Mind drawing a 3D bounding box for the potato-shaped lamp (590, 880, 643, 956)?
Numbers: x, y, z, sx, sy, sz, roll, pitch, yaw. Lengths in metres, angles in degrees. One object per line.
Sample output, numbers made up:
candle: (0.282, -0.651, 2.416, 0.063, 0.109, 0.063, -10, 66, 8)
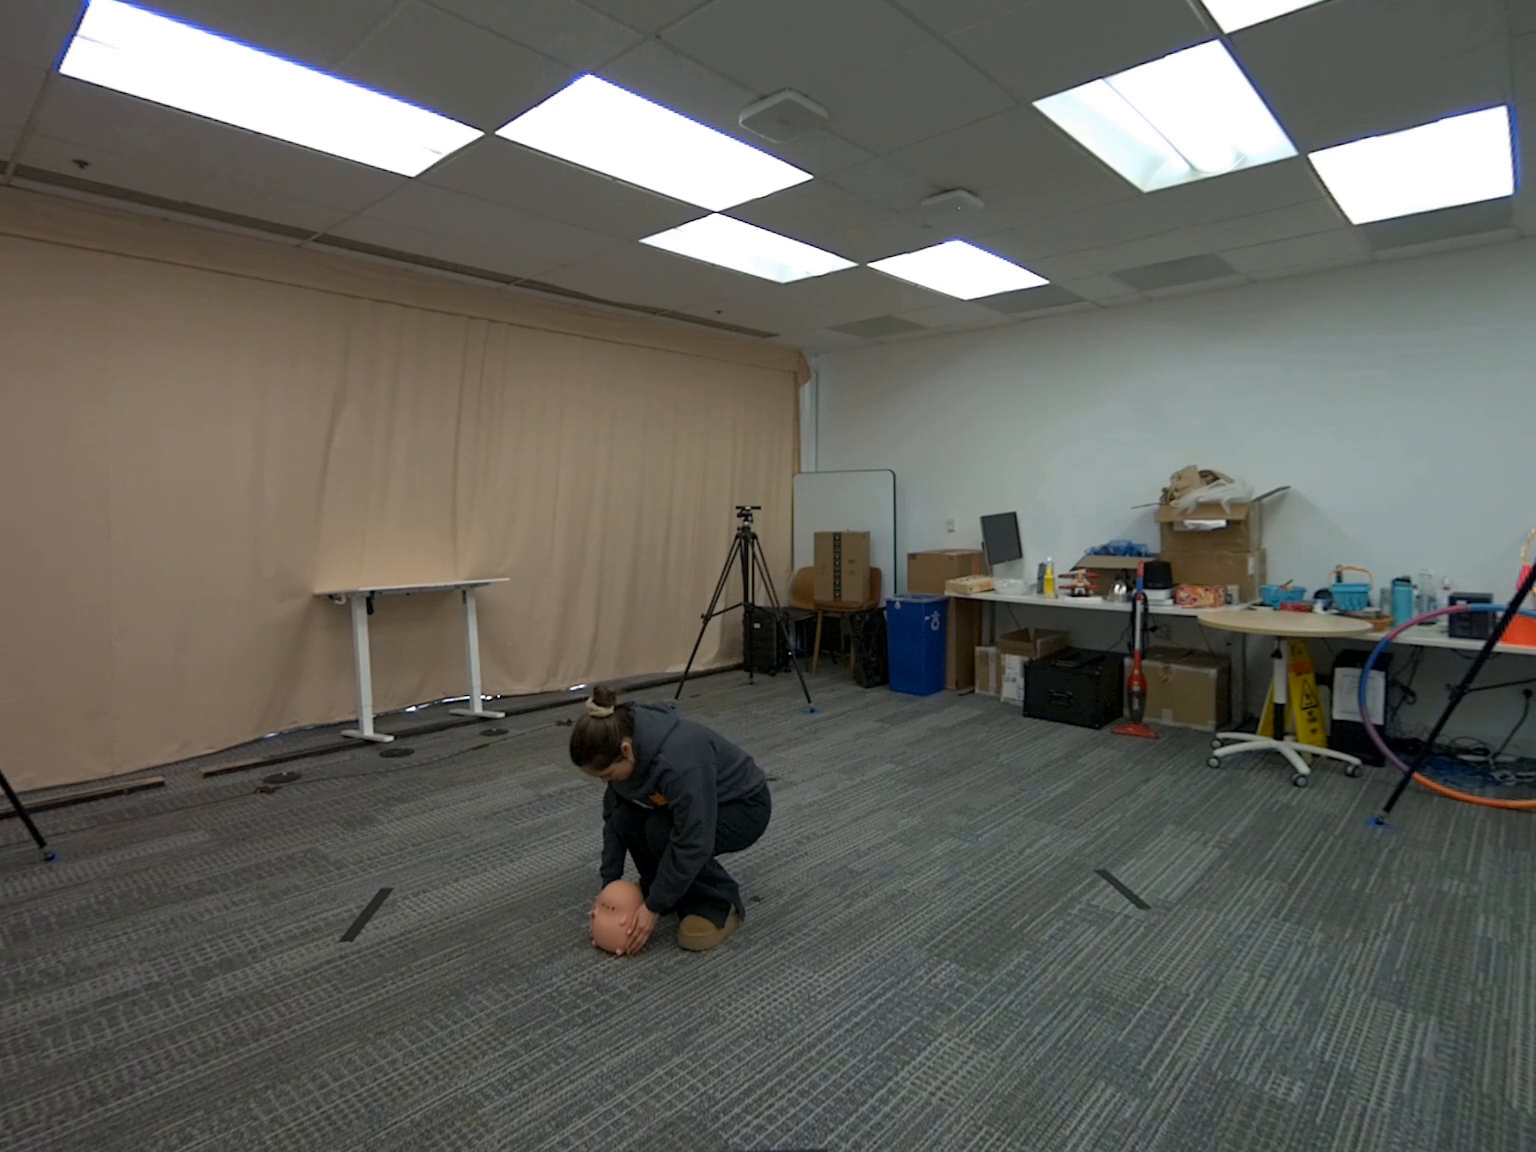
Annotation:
potato-shaped lamp: (-0.457, 1.075, 2.686, 0.170, 0.198, 0.166, 2, 4, 36)
